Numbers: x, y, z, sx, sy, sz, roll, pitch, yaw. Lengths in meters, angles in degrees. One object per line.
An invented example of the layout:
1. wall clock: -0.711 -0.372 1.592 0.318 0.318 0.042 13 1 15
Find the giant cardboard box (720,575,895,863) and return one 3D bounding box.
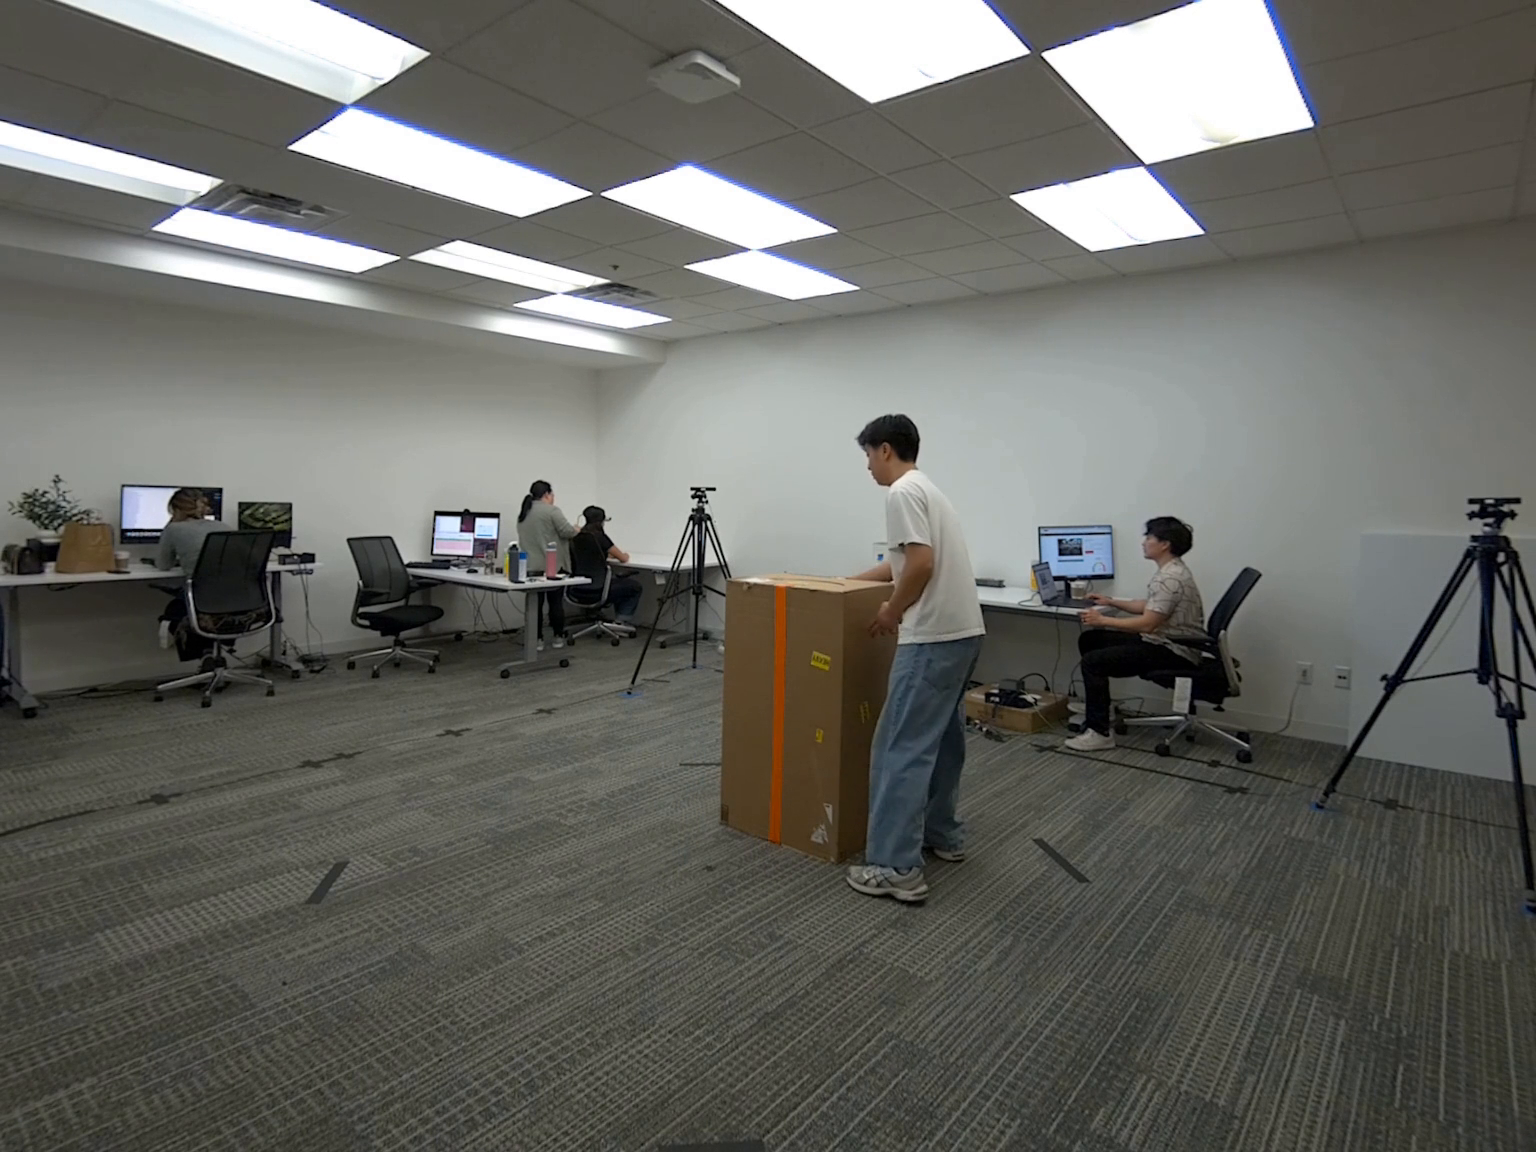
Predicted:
1. giant cardboard box: 0.151 0.528 3.481 0.597 1.022 0.414 4 5 39
